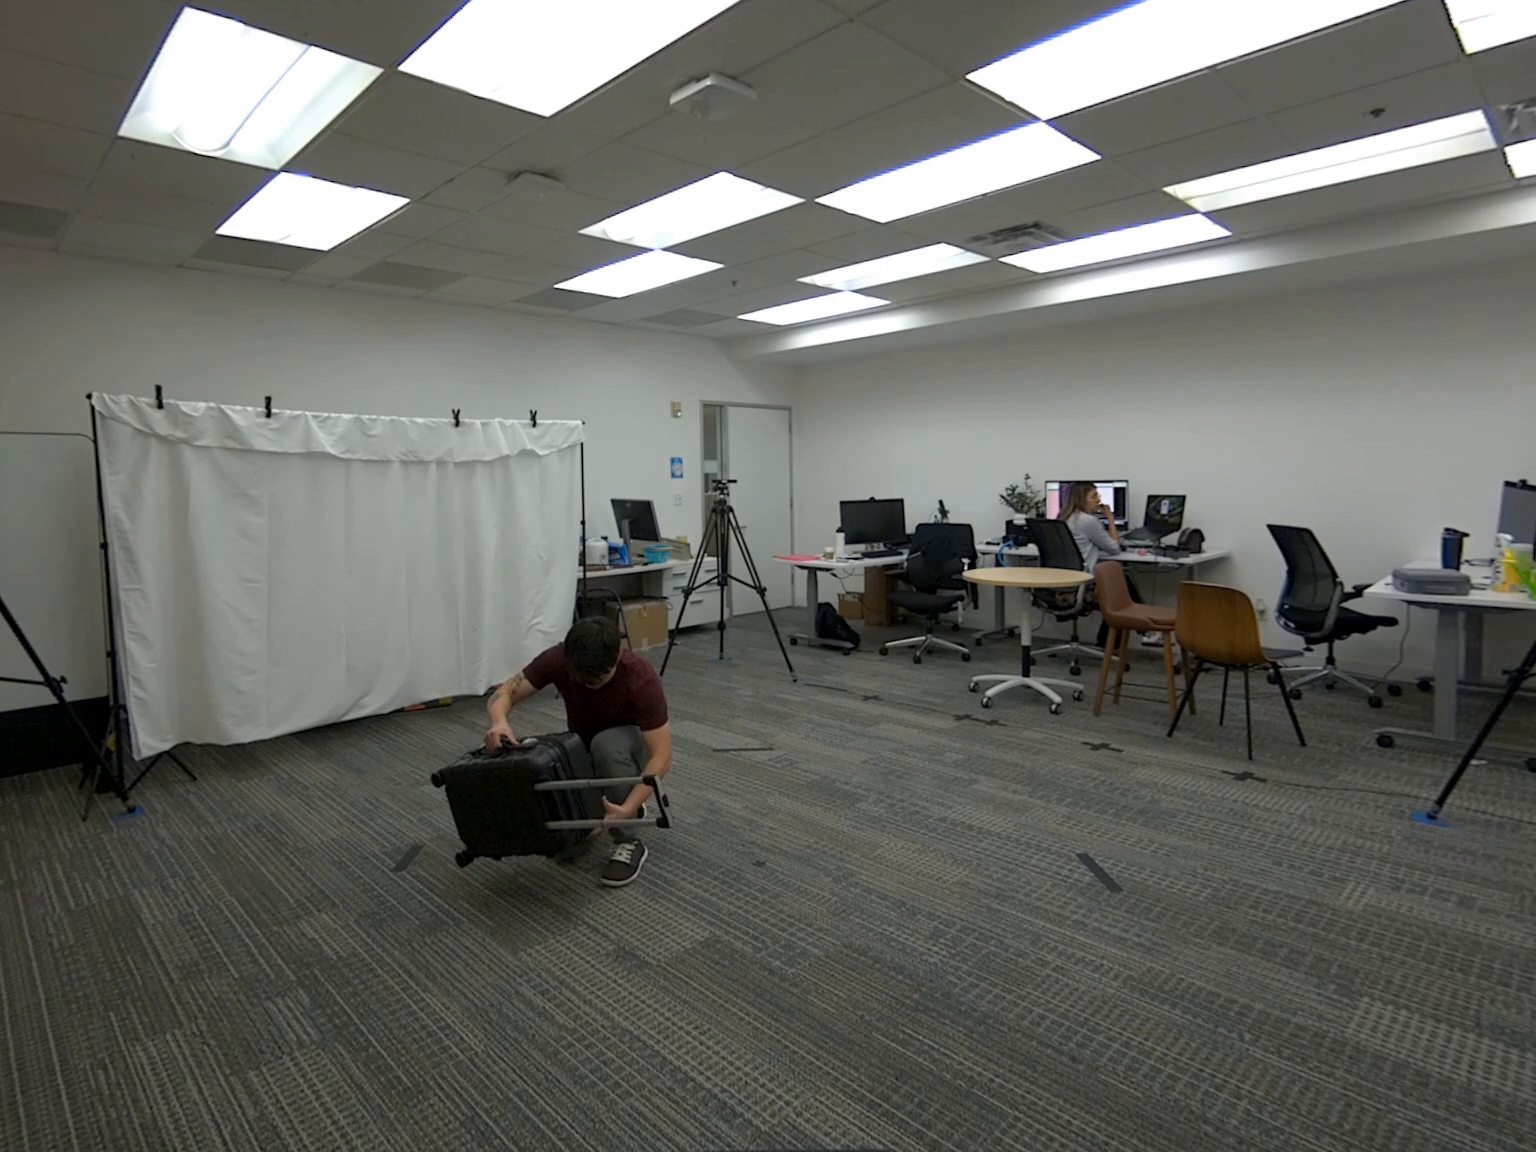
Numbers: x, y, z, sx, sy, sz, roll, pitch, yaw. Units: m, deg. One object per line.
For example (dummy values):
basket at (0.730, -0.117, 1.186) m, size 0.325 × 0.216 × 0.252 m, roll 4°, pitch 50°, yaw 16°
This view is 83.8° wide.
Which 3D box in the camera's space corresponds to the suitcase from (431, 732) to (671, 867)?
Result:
suitcase at (-0.671, 0.710, 2.792) m, size 0.997 × 0.383 × 0.253 m, roll -14°, pitch 4°, yaw 31°
